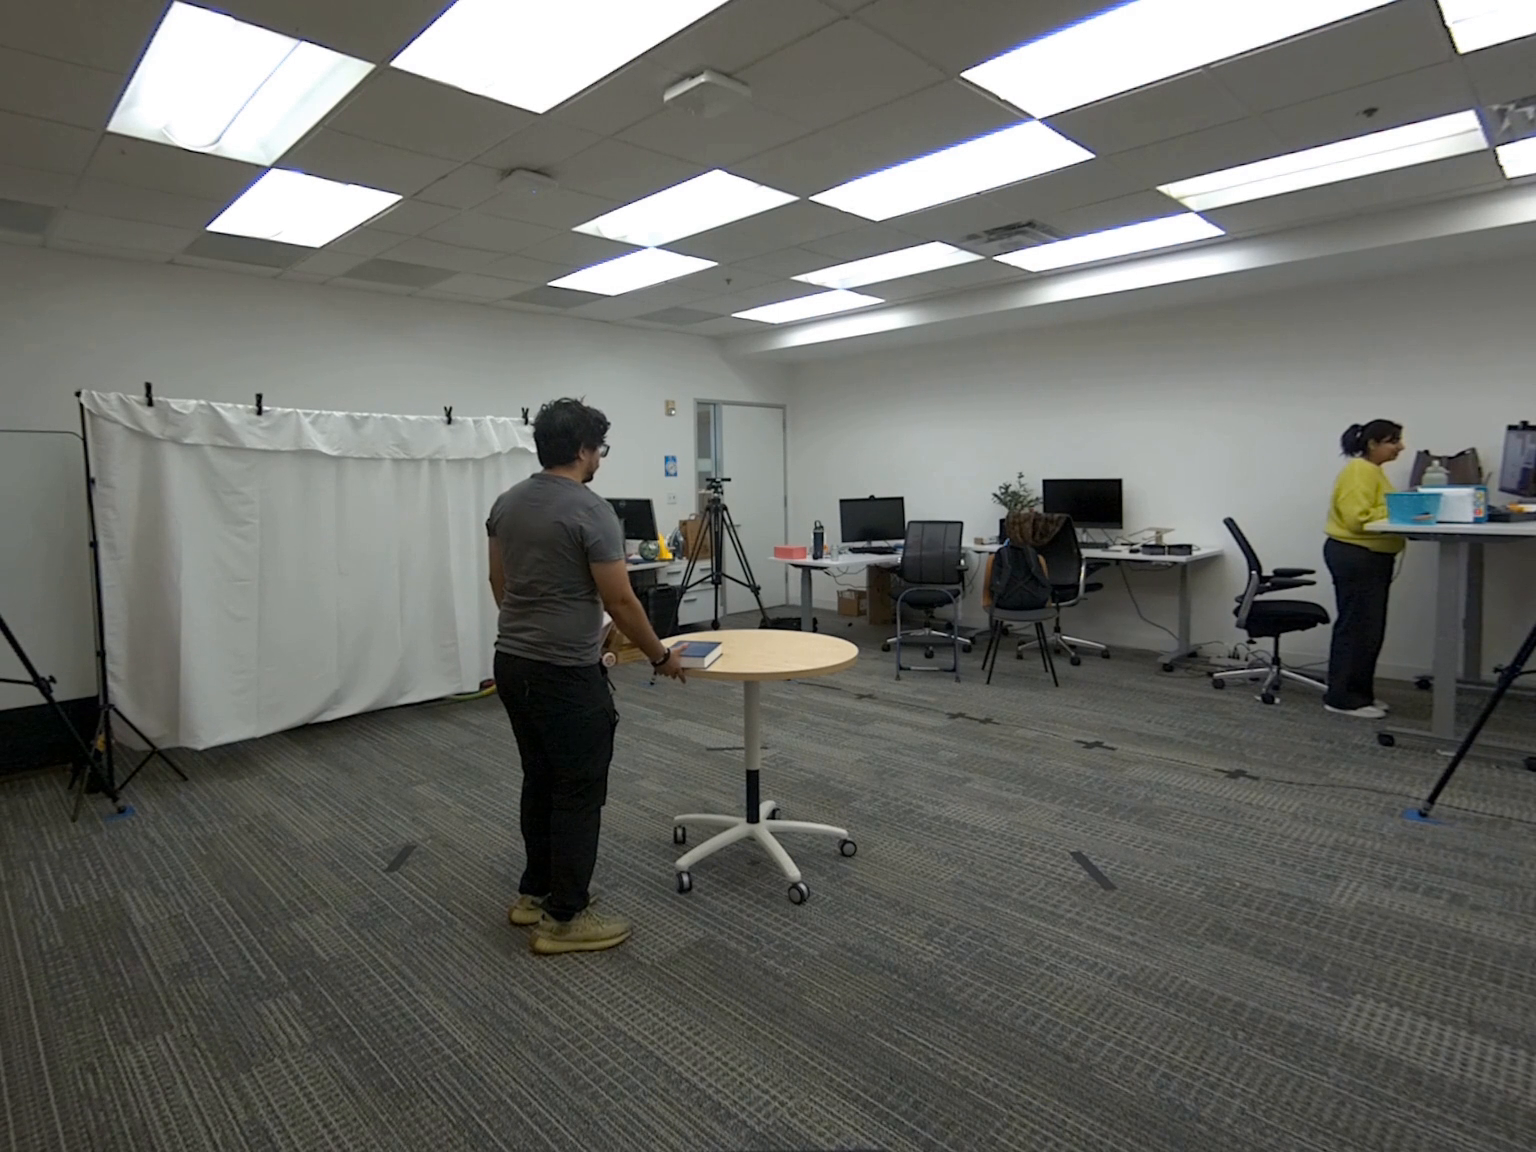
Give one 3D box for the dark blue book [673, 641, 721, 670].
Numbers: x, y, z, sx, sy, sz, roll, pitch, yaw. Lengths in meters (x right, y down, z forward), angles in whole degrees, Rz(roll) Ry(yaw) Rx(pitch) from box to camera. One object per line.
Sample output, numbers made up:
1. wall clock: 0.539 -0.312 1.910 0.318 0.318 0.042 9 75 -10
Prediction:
1. dark blue book: -0.254 0.265 2.903 0.165 0.045 0.243 1 7 10
